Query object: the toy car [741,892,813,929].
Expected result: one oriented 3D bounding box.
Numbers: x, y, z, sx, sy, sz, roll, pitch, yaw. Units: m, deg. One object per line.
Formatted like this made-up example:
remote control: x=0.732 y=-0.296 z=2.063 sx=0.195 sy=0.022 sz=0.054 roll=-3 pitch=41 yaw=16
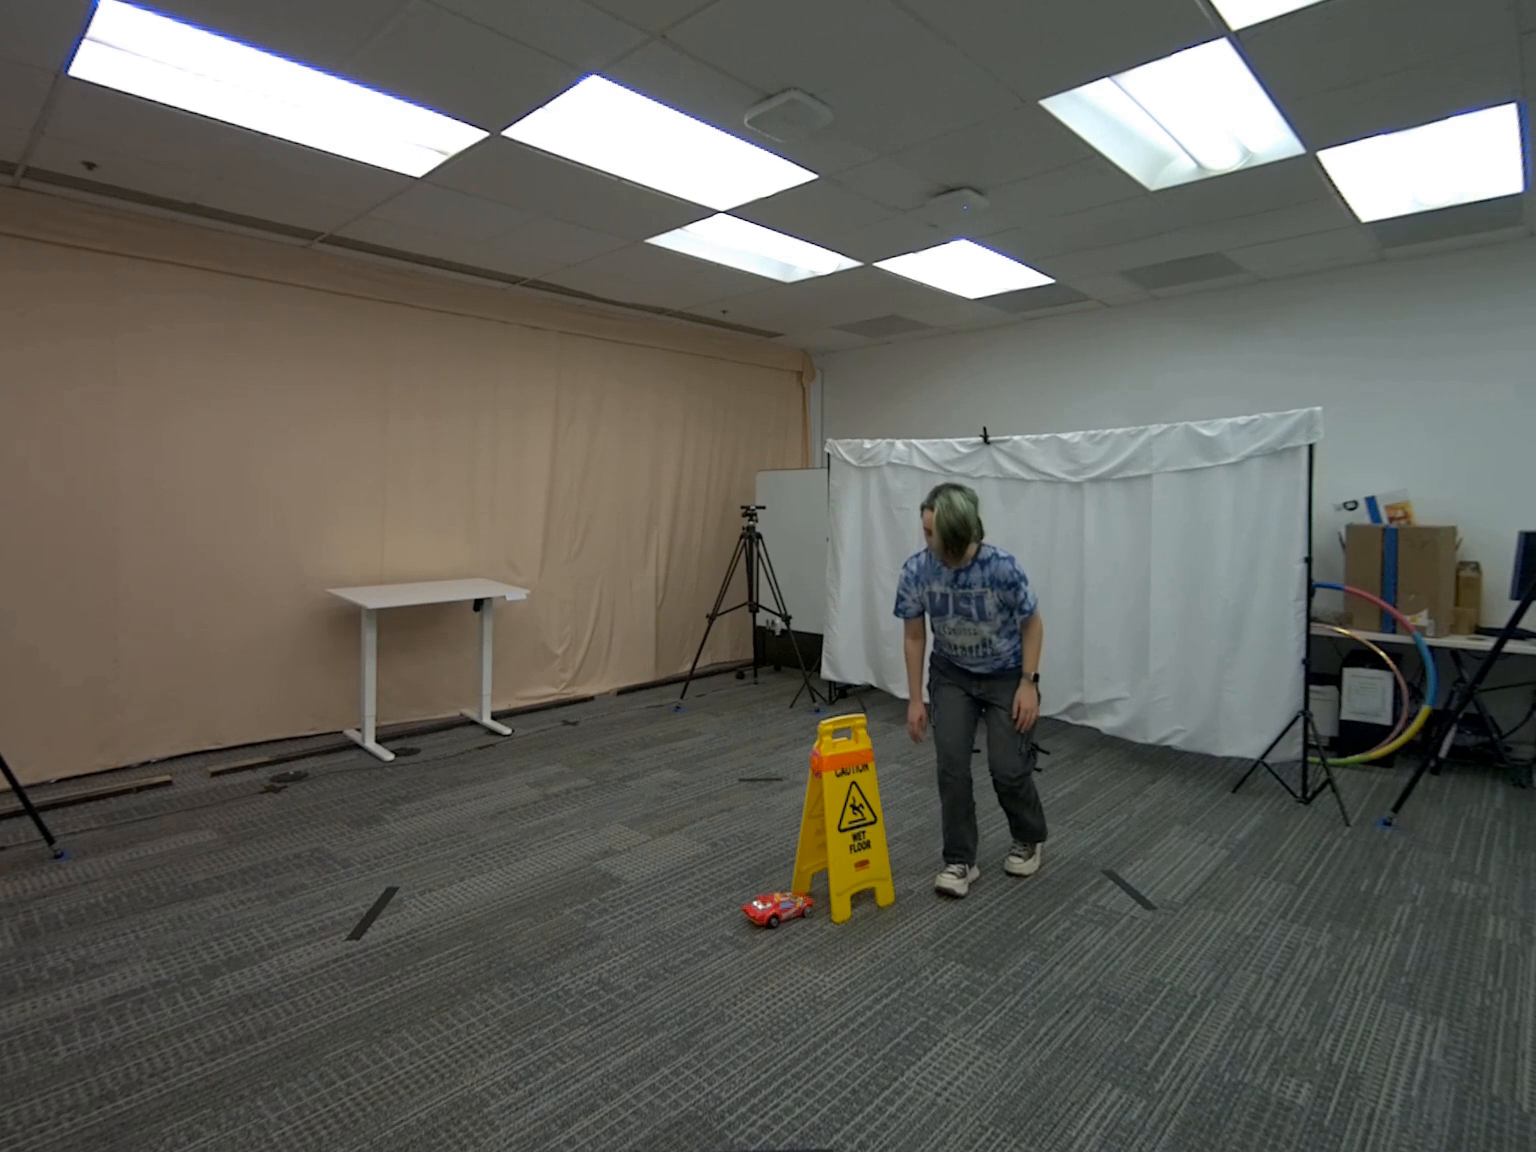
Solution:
toy car: x=0.030 y=1.131 z=2.838 sx=0.247 sy=0.083 sz=0.134 roll=14 pitch=-4 yaw=-30
